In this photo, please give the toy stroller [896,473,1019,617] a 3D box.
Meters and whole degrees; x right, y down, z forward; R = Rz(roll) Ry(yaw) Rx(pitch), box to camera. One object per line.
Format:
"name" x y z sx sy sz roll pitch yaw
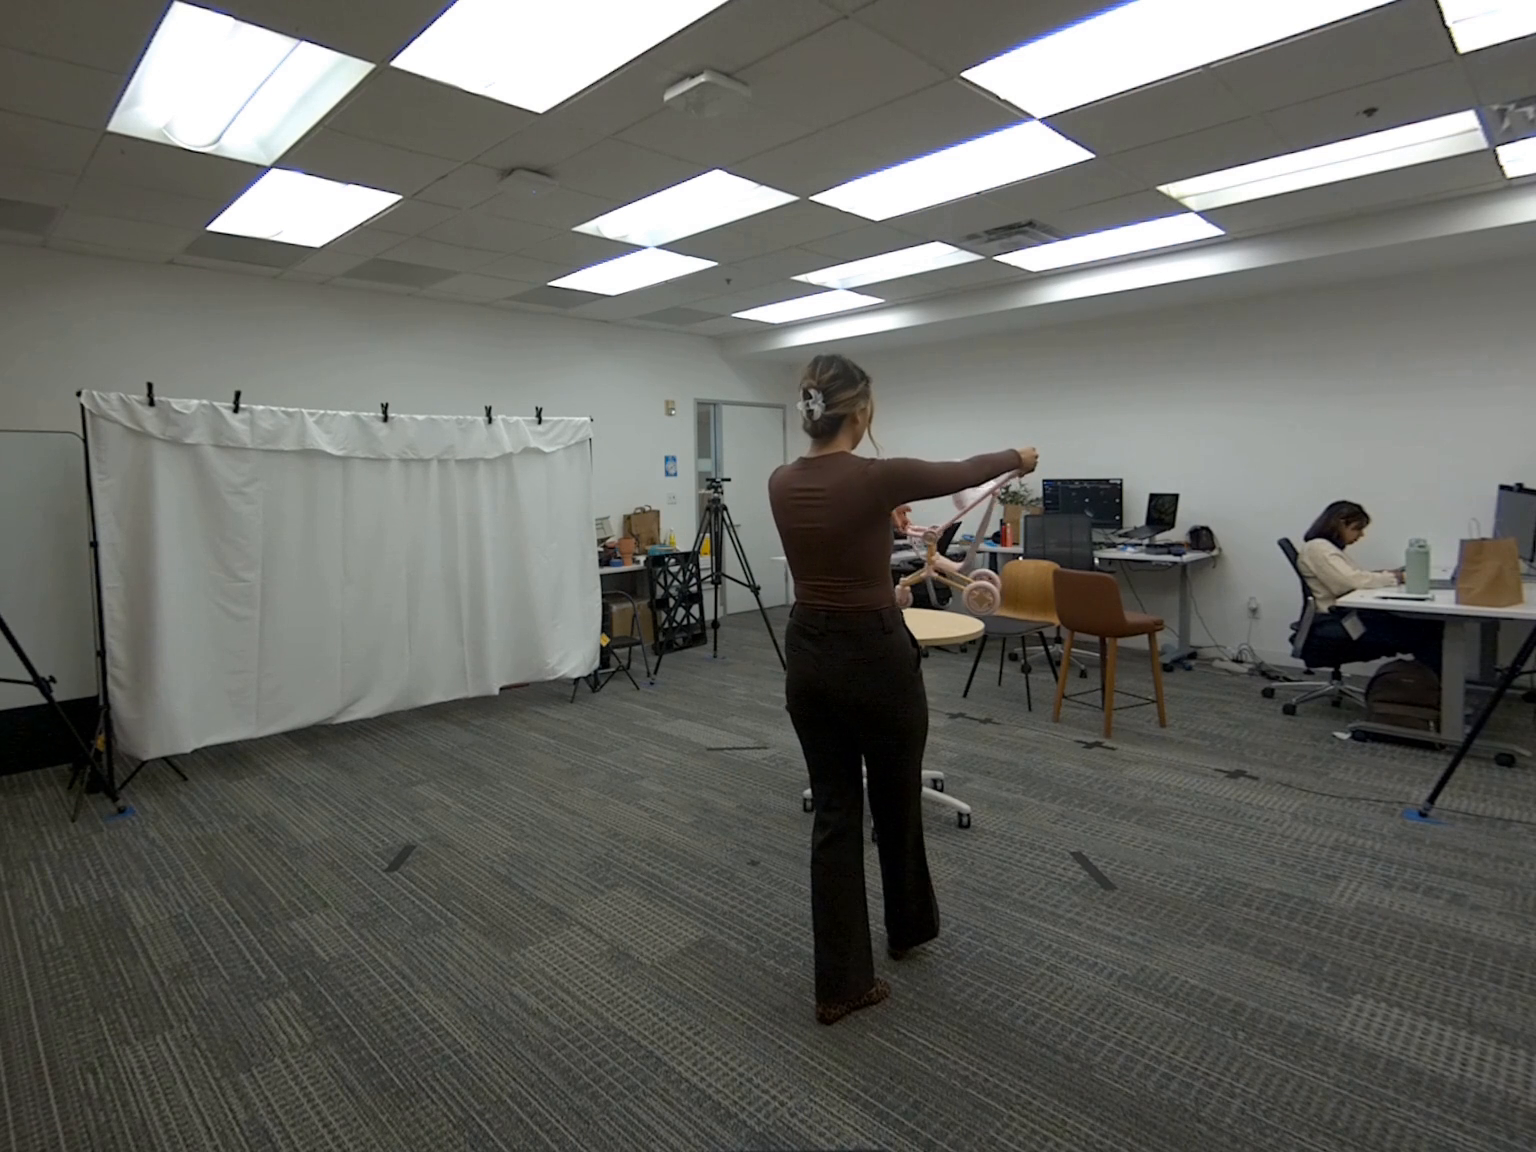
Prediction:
"toy stroller" 0.605 -0.123 2.694 0.349 0.531 0.277 13 11 21
